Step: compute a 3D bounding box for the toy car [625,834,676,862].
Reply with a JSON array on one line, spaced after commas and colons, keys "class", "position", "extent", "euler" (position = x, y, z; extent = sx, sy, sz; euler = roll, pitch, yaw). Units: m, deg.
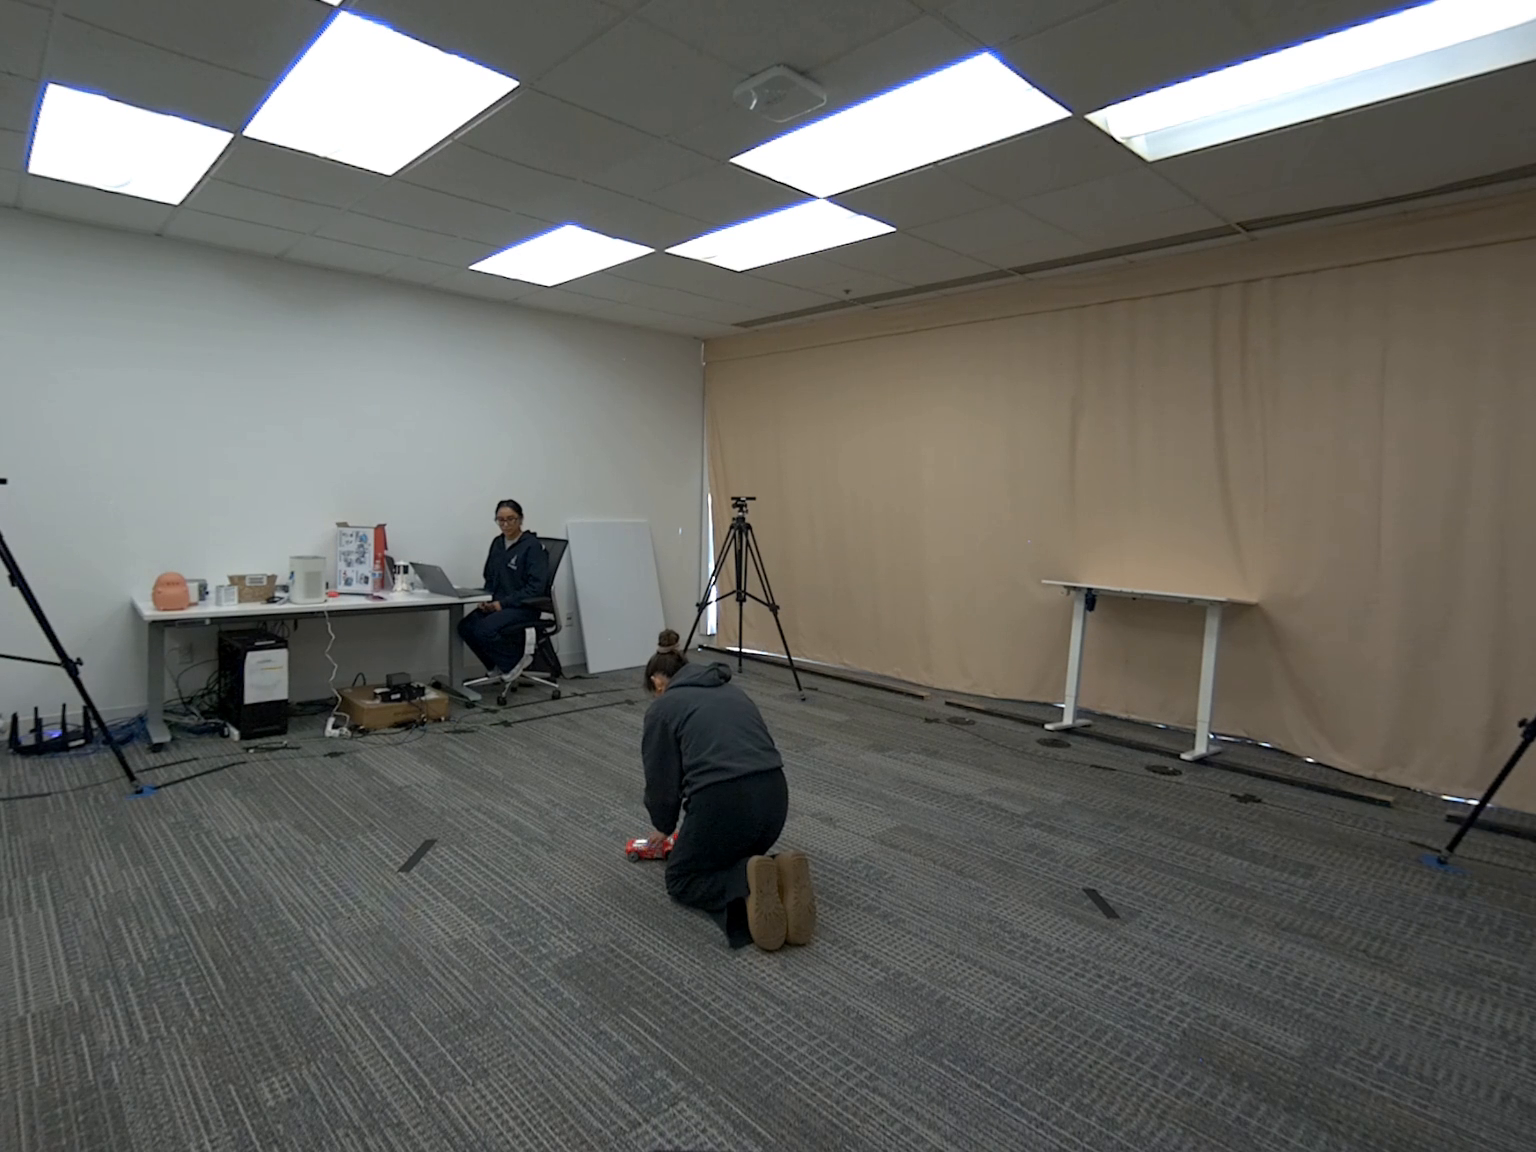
[{"class": "toy car", "position": [-0.427, 1.053, 3.262], "extent": [0.255, 0.083, 0.131], "euler": [-10, 6, 2]}]
